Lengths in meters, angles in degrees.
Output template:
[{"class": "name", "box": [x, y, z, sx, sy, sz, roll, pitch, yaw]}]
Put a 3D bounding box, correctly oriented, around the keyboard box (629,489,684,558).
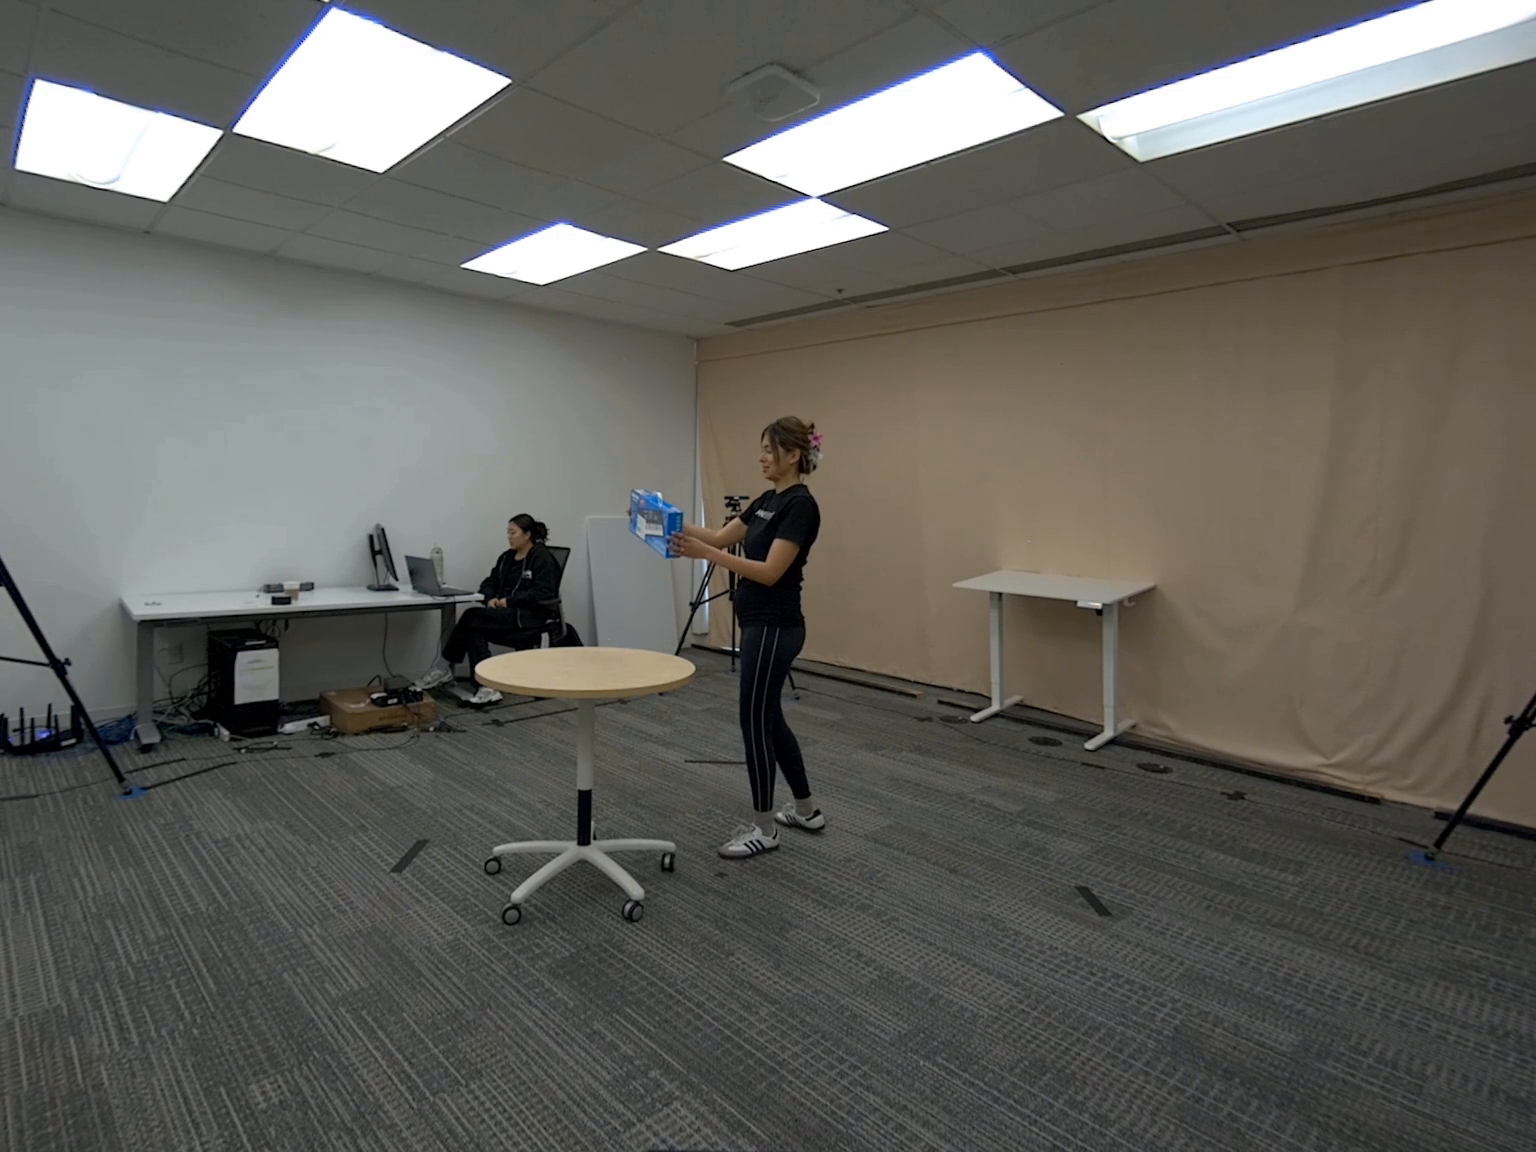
[{"class": "keyboard box", "box": [-0.438, -0.205, 3.236, 0.058, 0.174, 0.449, -1, 16, -27]}]
